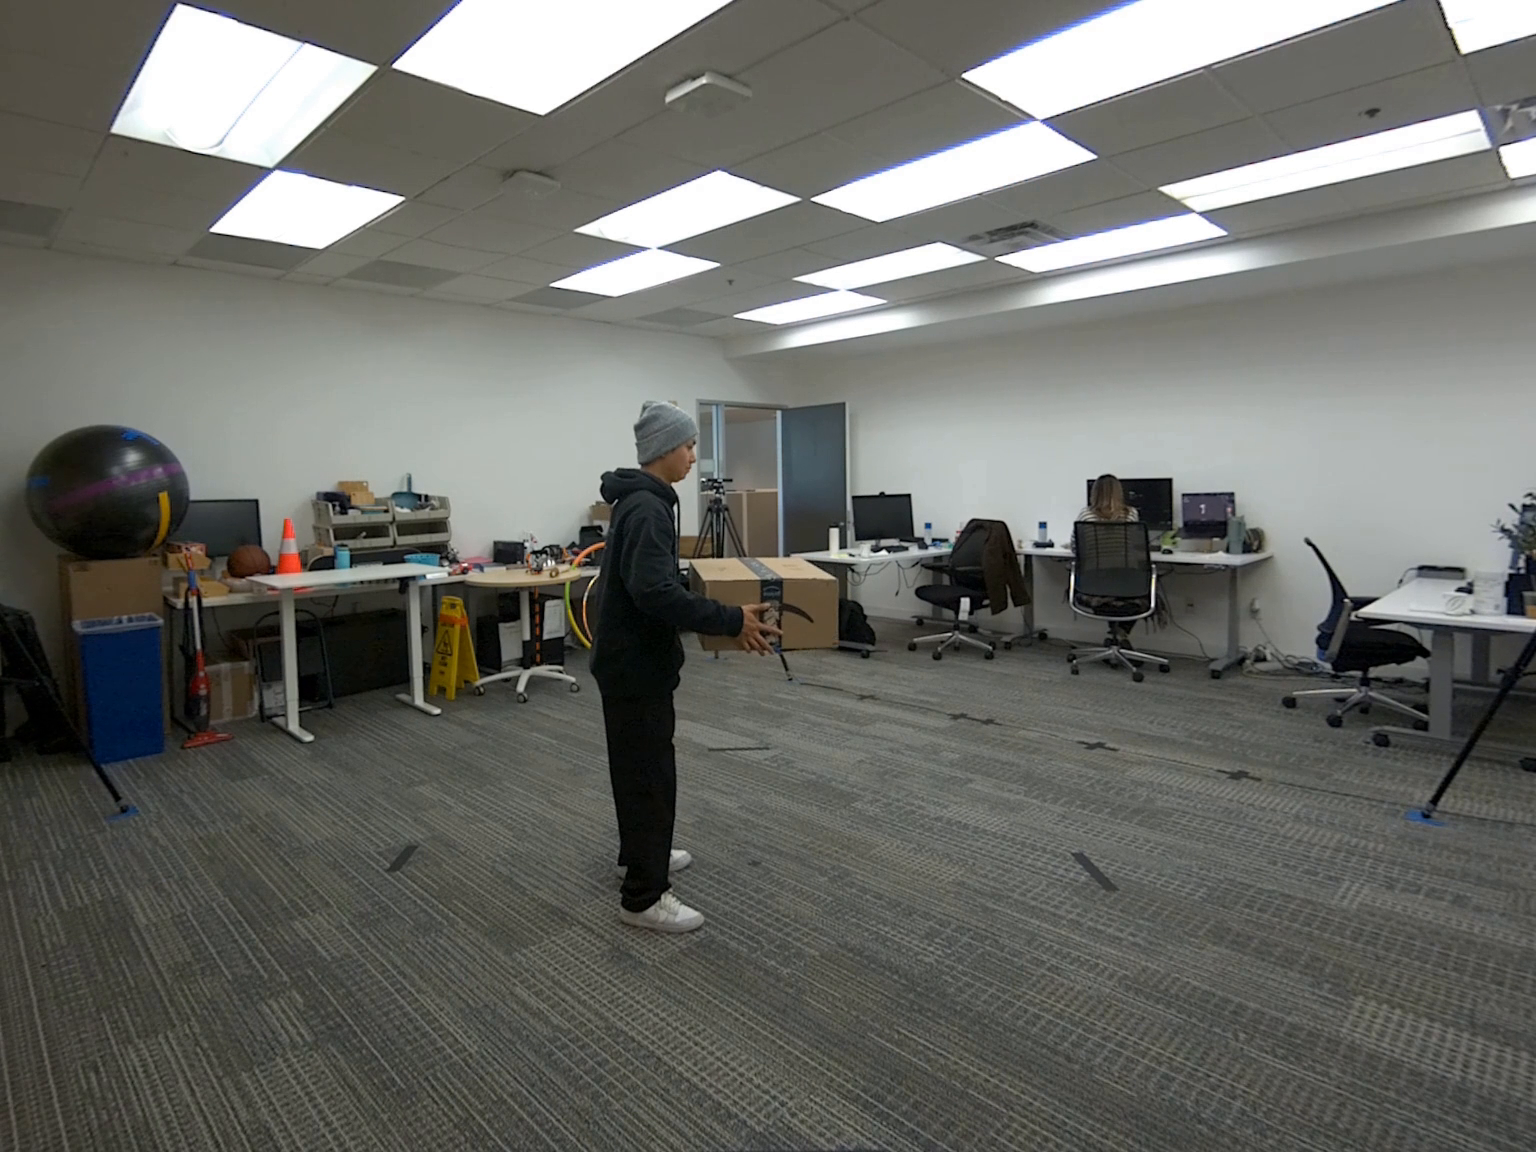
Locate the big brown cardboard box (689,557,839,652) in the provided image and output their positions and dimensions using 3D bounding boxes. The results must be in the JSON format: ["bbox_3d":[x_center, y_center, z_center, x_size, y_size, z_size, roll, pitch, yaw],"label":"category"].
[{"bbox_3d":[-0.046,0.082,2.861,0.415,0.232,0.596,-1,8,-7],"label":"big brown cardboard box"}]
